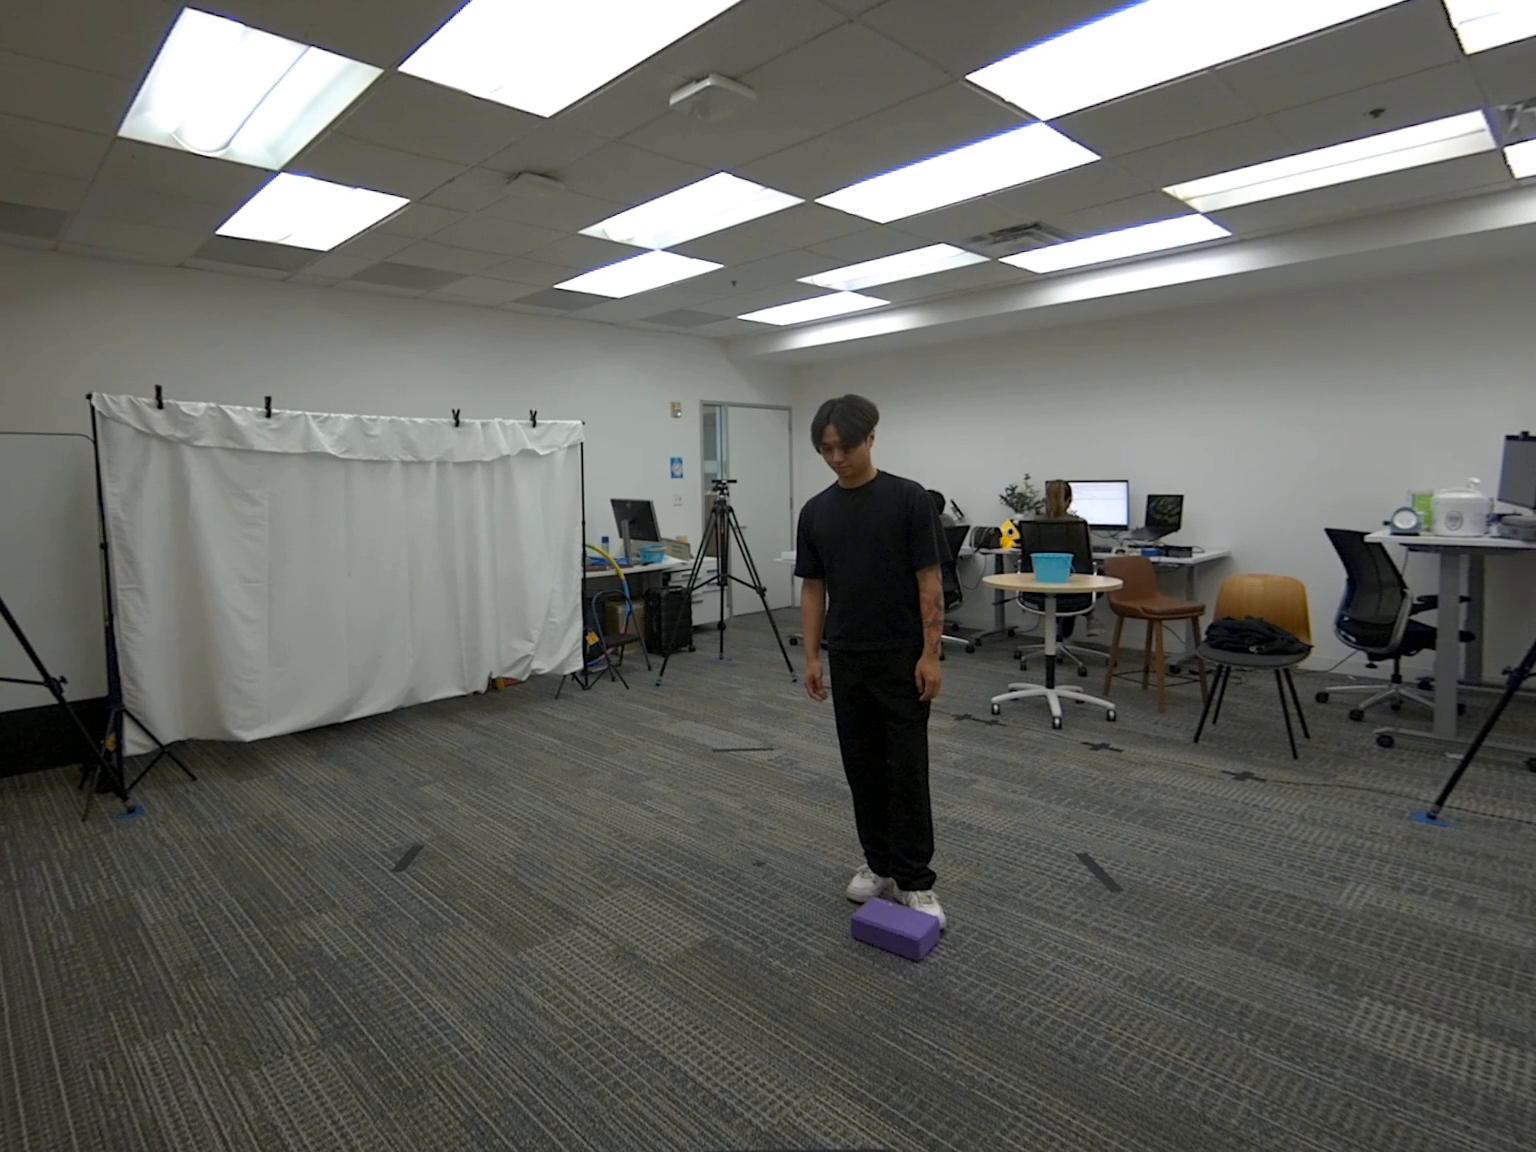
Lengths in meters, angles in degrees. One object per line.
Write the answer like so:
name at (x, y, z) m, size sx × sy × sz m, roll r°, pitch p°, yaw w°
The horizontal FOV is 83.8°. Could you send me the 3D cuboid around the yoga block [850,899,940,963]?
yoga block at (0.385, 1.058, 2.575) m, size 0.236 × 0.076 × 0.145 m, roll 3°, pitch 9°, yaw 37°
